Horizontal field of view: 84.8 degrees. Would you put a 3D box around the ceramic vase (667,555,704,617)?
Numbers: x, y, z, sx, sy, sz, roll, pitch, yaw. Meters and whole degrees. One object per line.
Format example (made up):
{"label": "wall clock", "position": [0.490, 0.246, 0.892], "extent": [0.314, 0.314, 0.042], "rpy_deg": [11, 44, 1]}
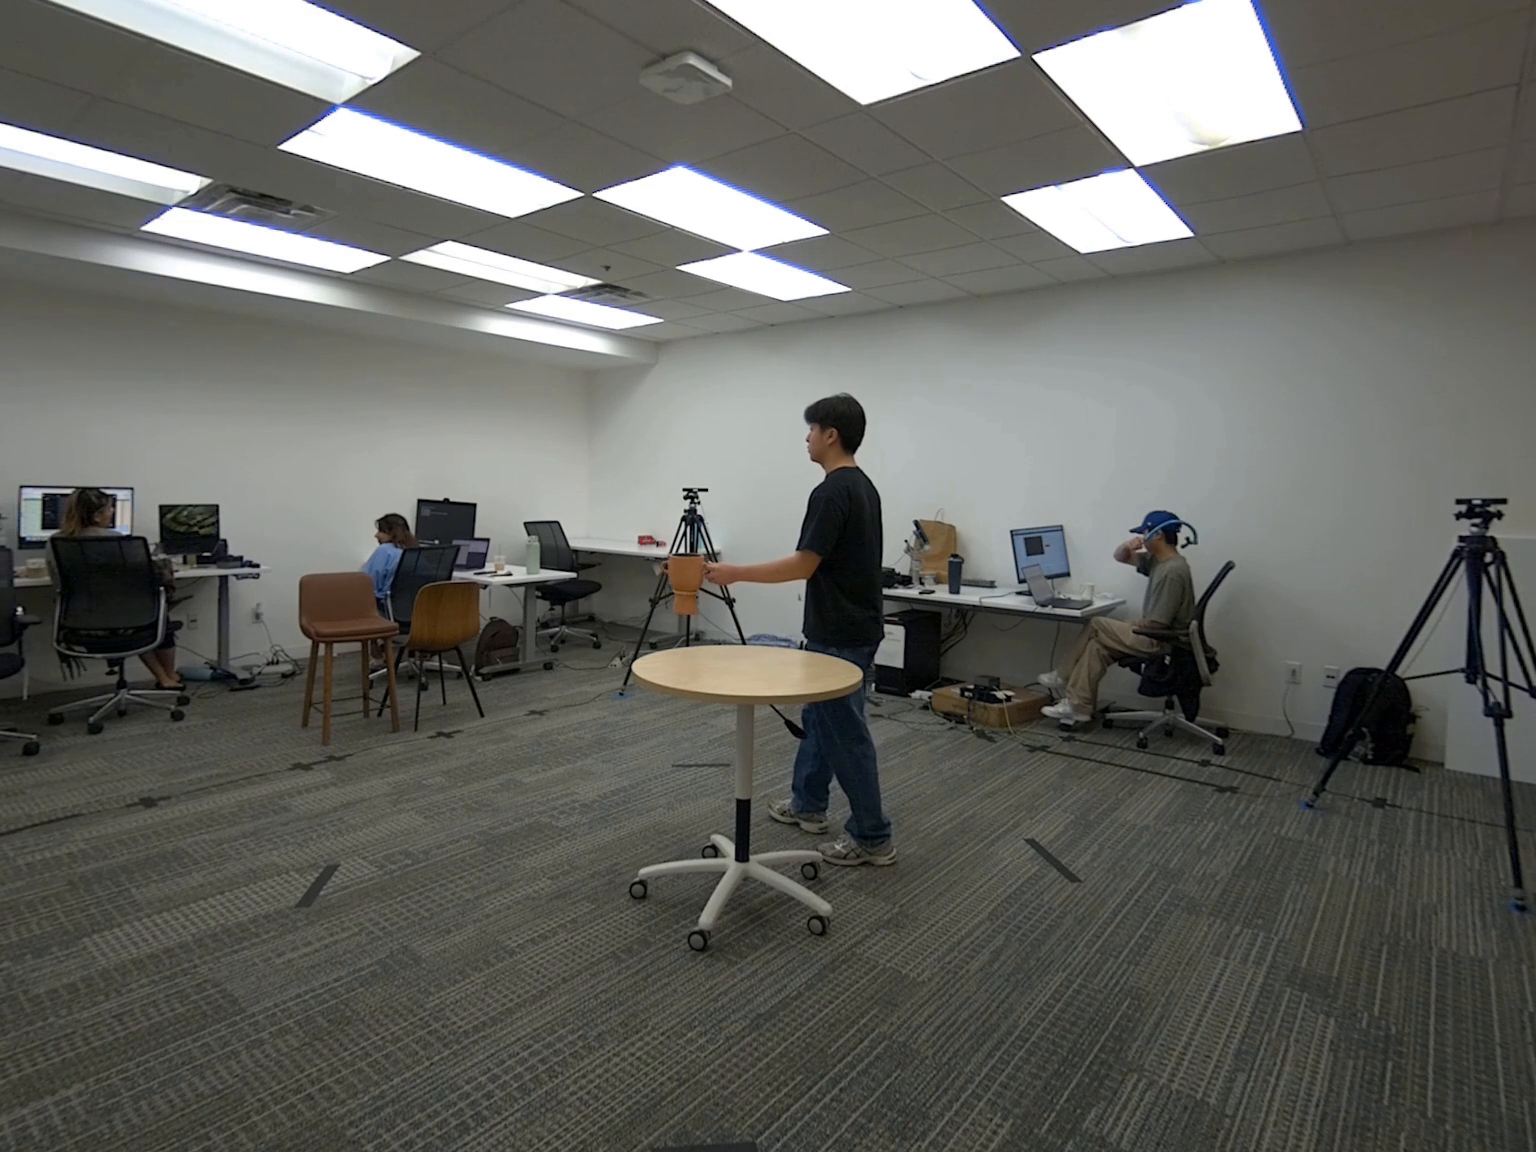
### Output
{"label": "ceramic vase", "position": [-0.321, 0.024, 3.228], "extent": [0.164, 0.218, 0.131], "rpy_deg": [8, 10, 44]}
